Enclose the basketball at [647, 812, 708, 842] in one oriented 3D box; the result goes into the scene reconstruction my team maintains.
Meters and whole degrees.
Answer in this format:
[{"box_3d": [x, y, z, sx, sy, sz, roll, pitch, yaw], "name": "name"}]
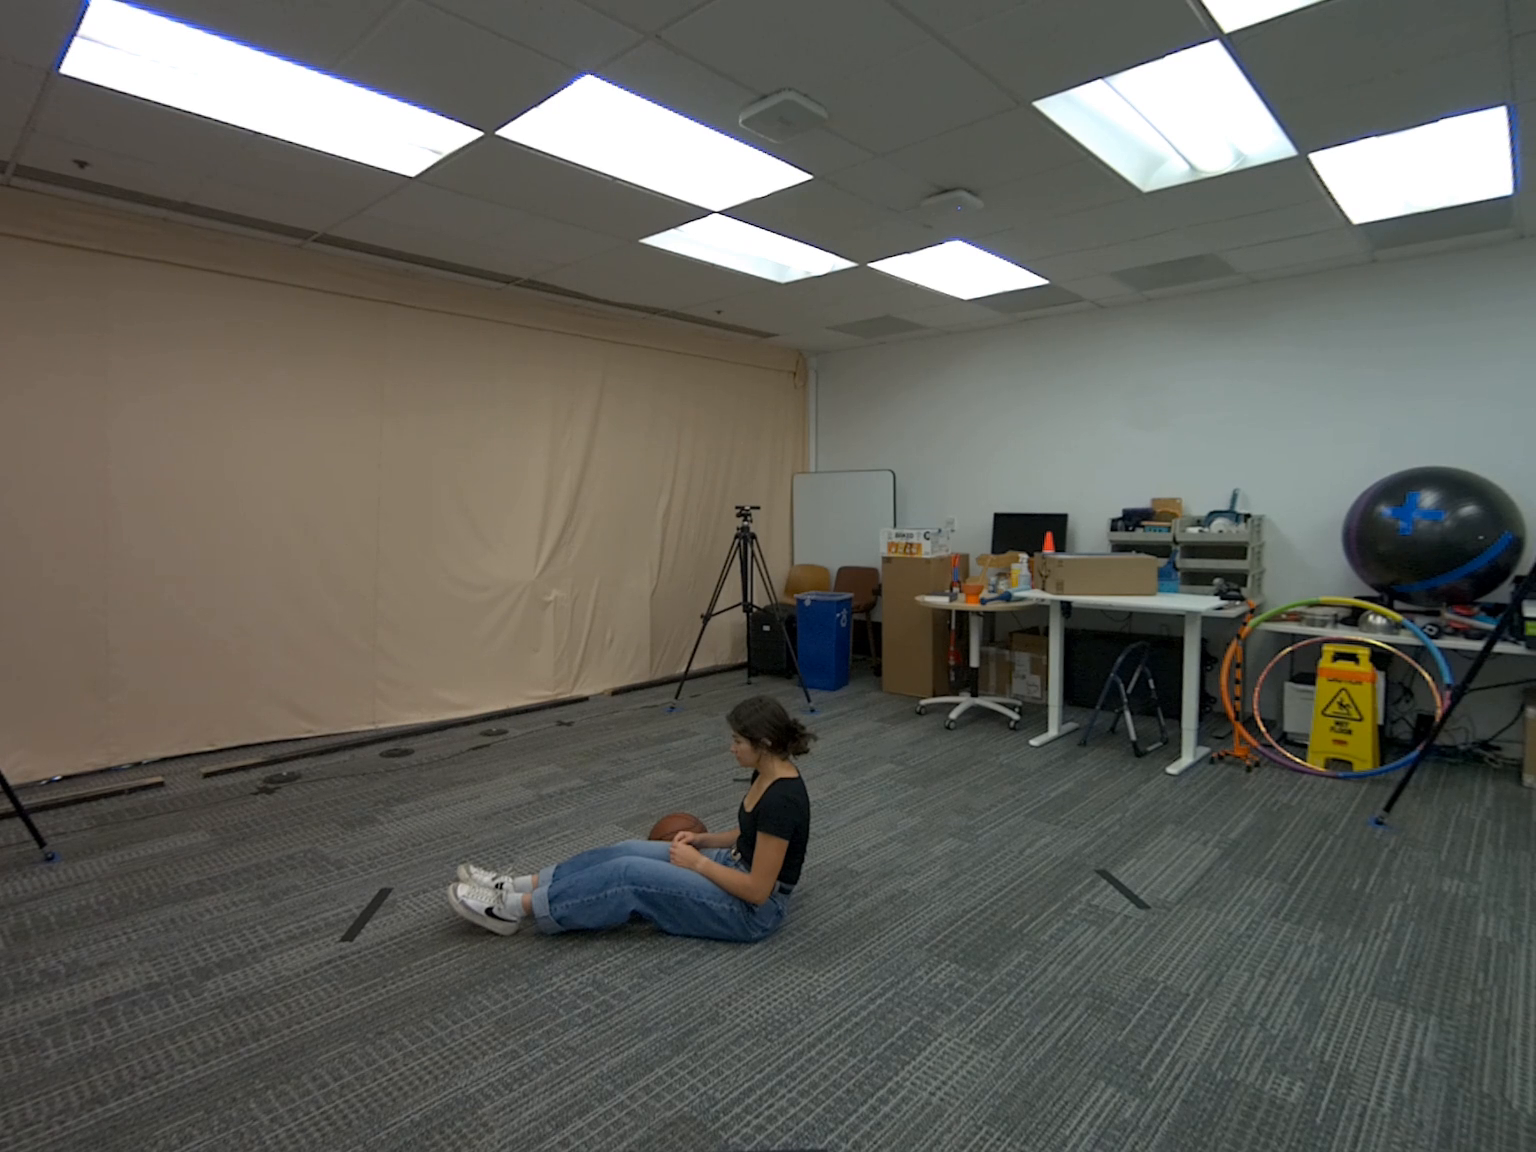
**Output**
[{"box_3d": [-0.334, 1.008, 3.162, 0.236, 0.235, 0.237, 0, 4, -2], "name": "basketball"}]
